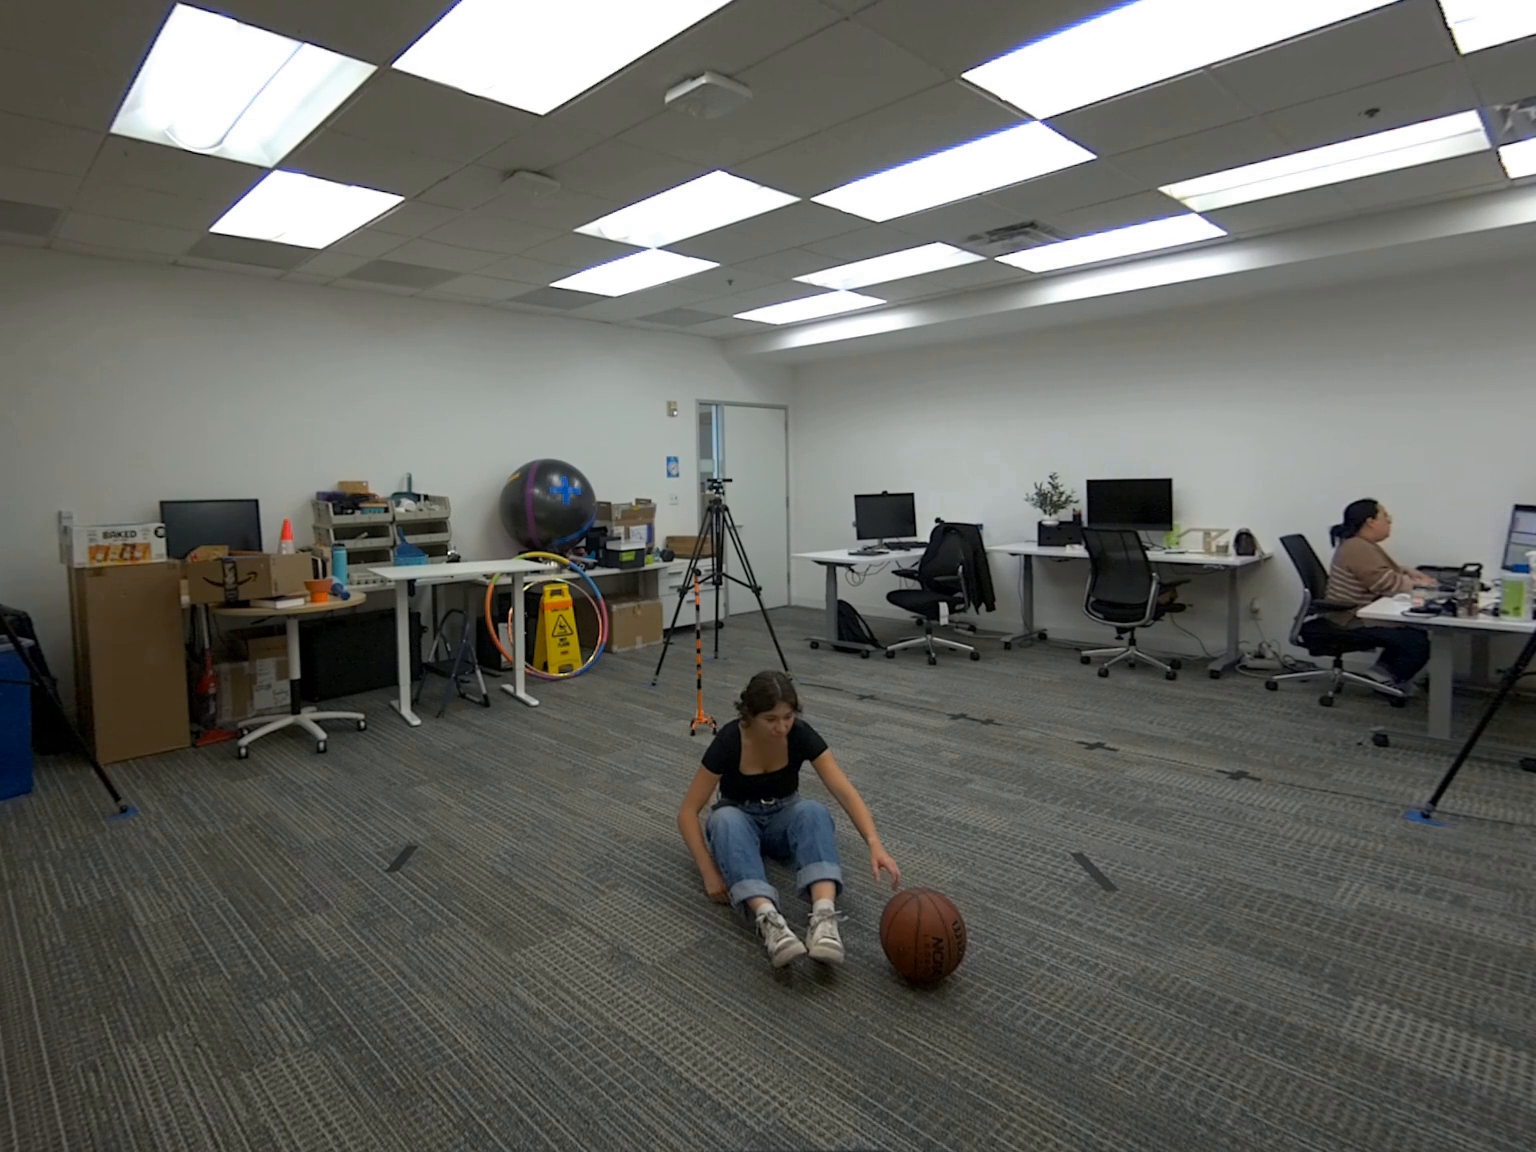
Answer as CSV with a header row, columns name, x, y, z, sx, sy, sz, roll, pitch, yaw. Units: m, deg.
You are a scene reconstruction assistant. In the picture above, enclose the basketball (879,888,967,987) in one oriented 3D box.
name,x,y,z,sx,sy,sz,roll,pitch,yaw
basketball,0.438,0.997,2.388,0.236,0.235,0.237,-1,5,-2
